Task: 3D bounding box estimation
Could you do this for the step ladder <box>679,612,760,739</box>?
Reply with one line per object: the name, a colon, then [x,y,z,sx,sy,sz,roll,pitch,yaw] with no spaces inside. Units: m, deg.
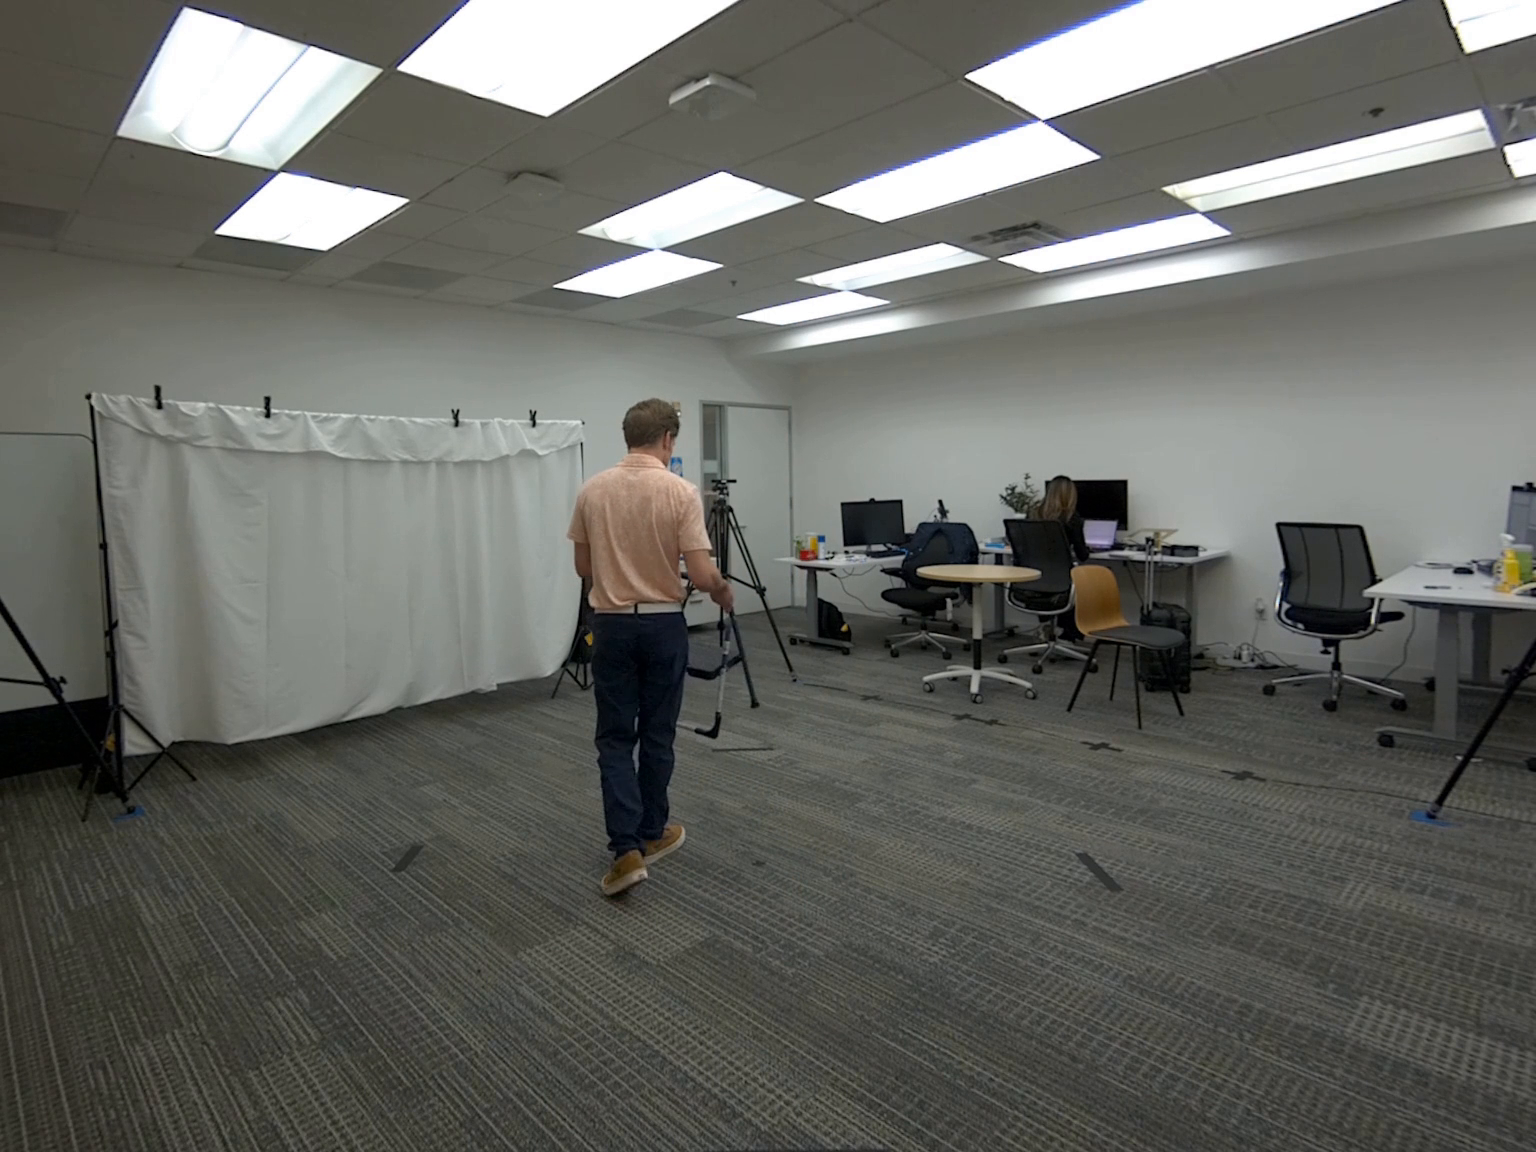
step ladder: [-0.298,0.261,3.387,0.443,0.598,0.344,9,18,28]
